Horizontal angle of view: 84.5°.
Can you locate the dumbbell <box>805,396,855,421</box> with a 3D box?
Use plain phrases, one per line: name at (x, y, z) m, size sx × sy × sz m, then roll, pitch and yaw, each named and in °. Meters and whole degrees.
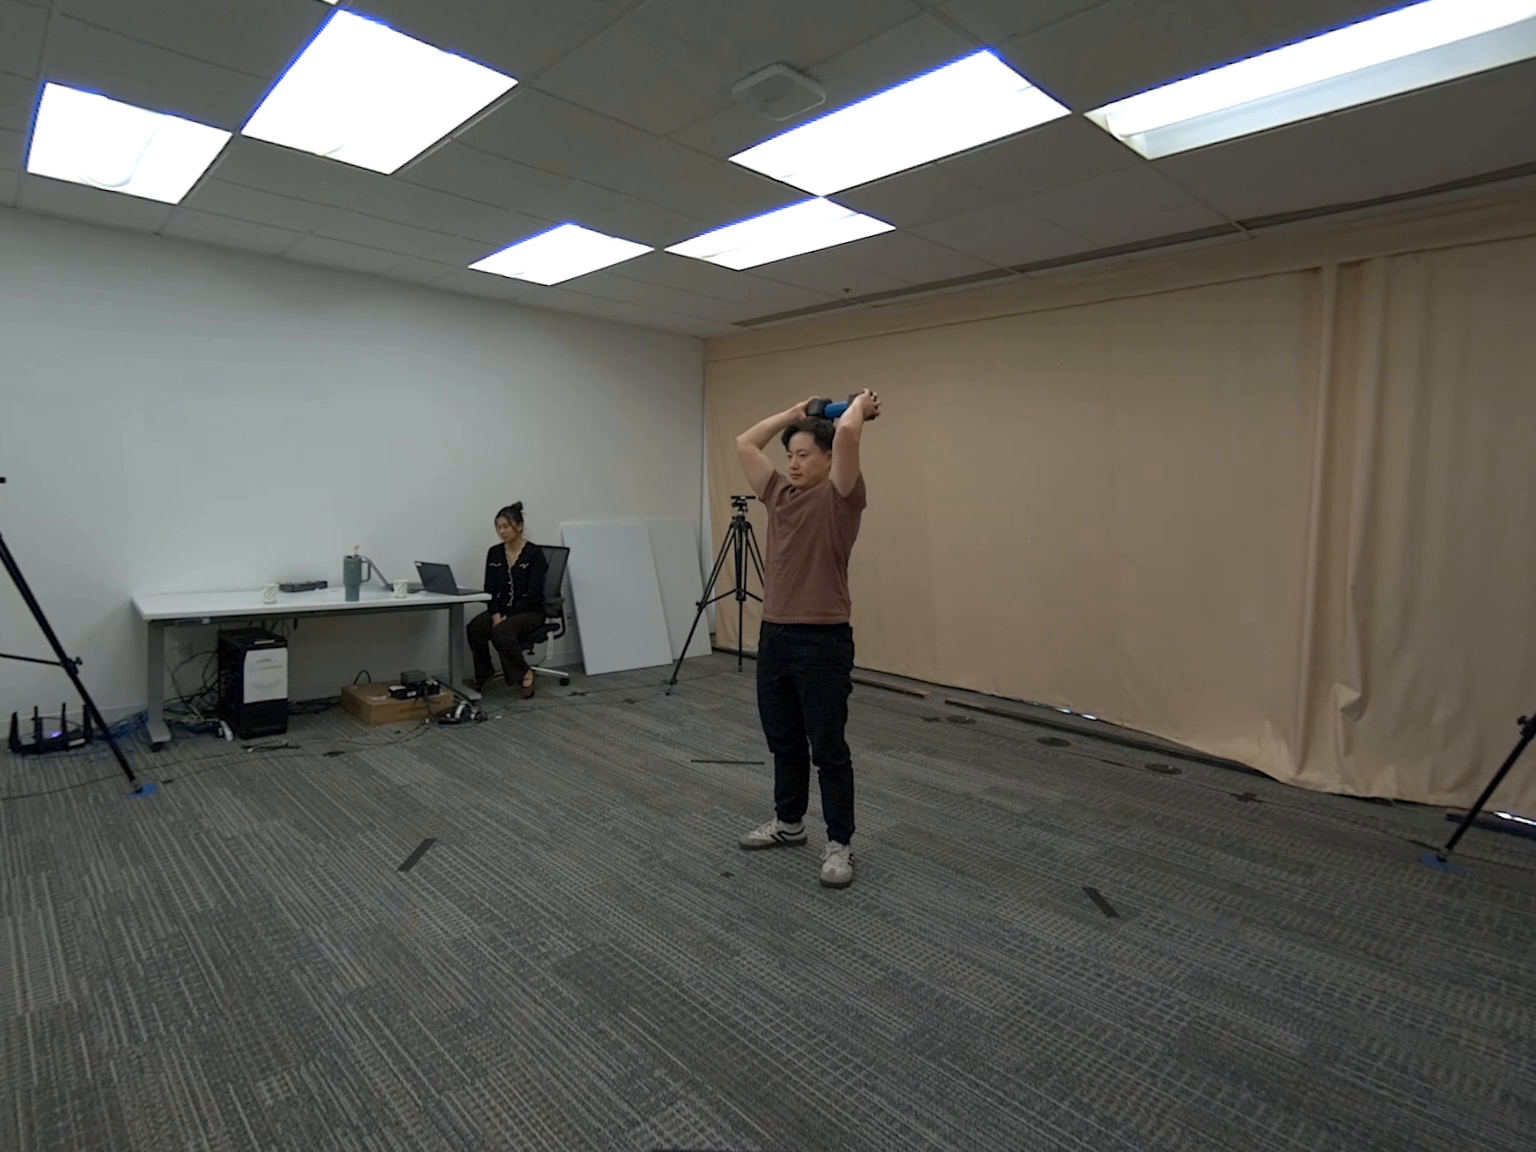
dumbbell at (0.276, -0.647, 3.262) m, size 0.121 × 0.108 × 0.301 m, roll -15°, pitch 12°, yaw -40°
